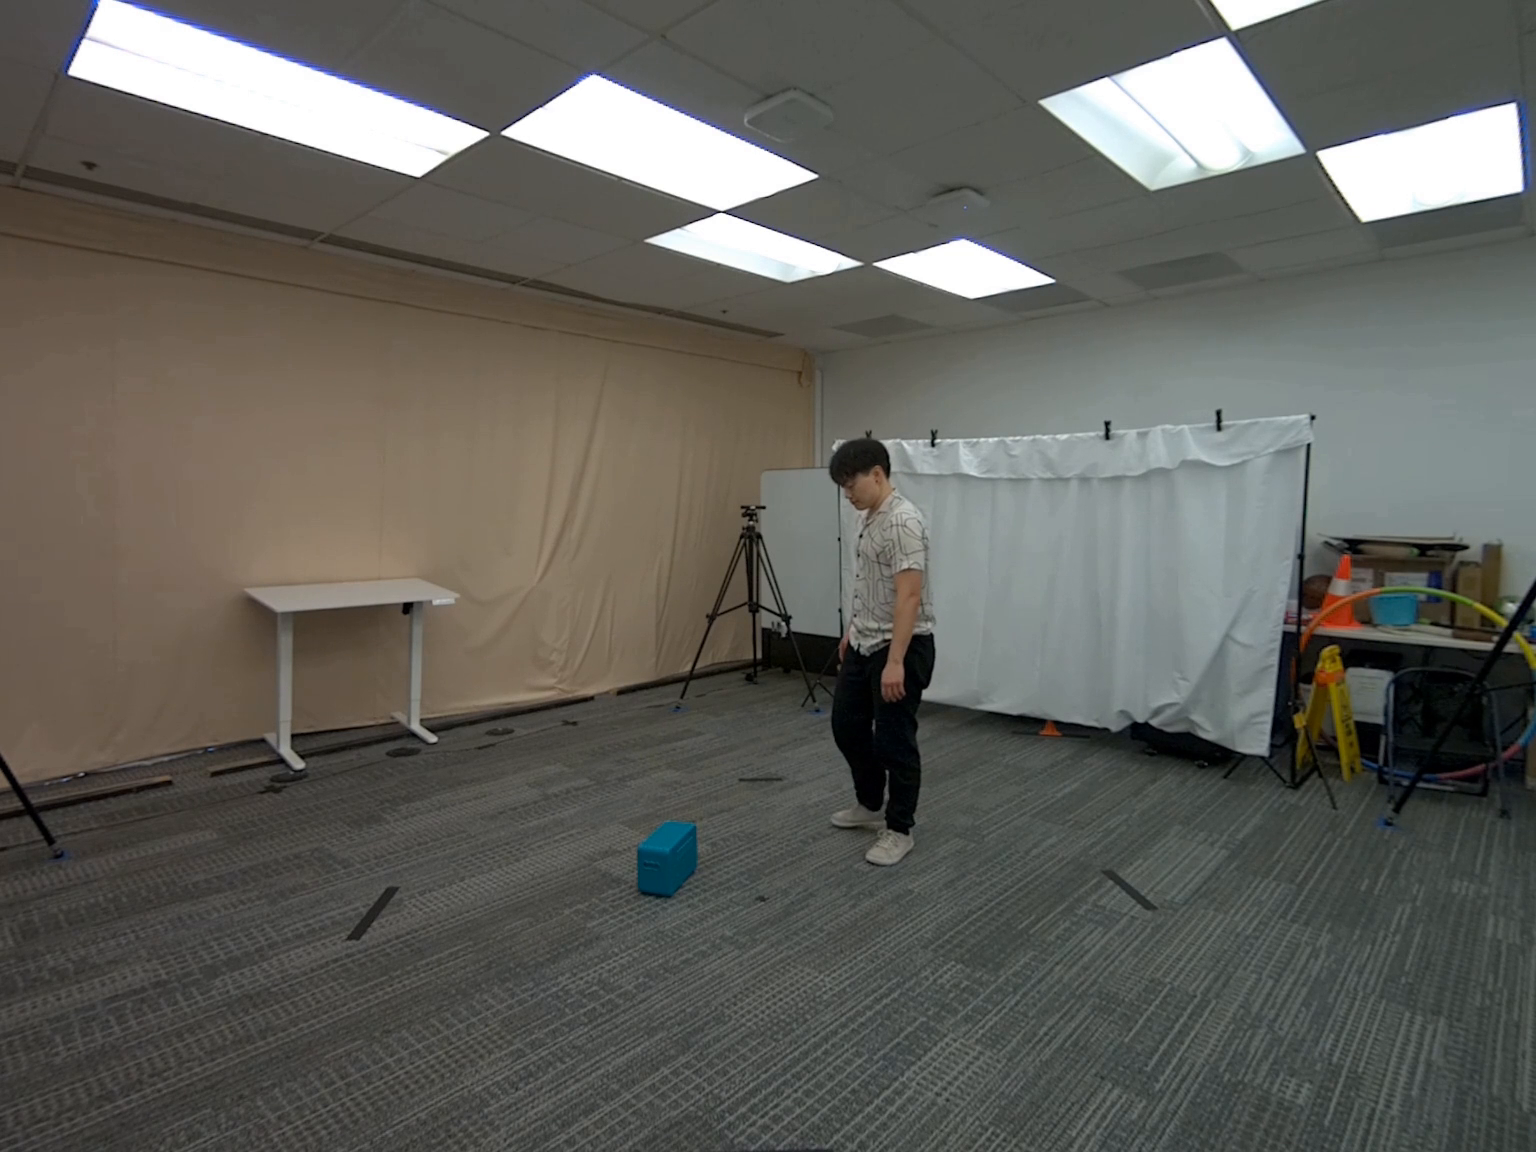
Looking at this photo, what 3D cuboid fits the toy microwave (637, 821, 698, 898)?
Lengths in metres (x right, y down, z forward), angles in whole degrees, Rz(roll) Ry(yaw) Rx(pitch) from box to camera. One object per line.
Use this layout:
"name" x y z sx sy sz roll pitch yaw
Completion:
"toy microwave" -0.377 1.043 3.123 0.155 0.184 0.281 1 4 18
